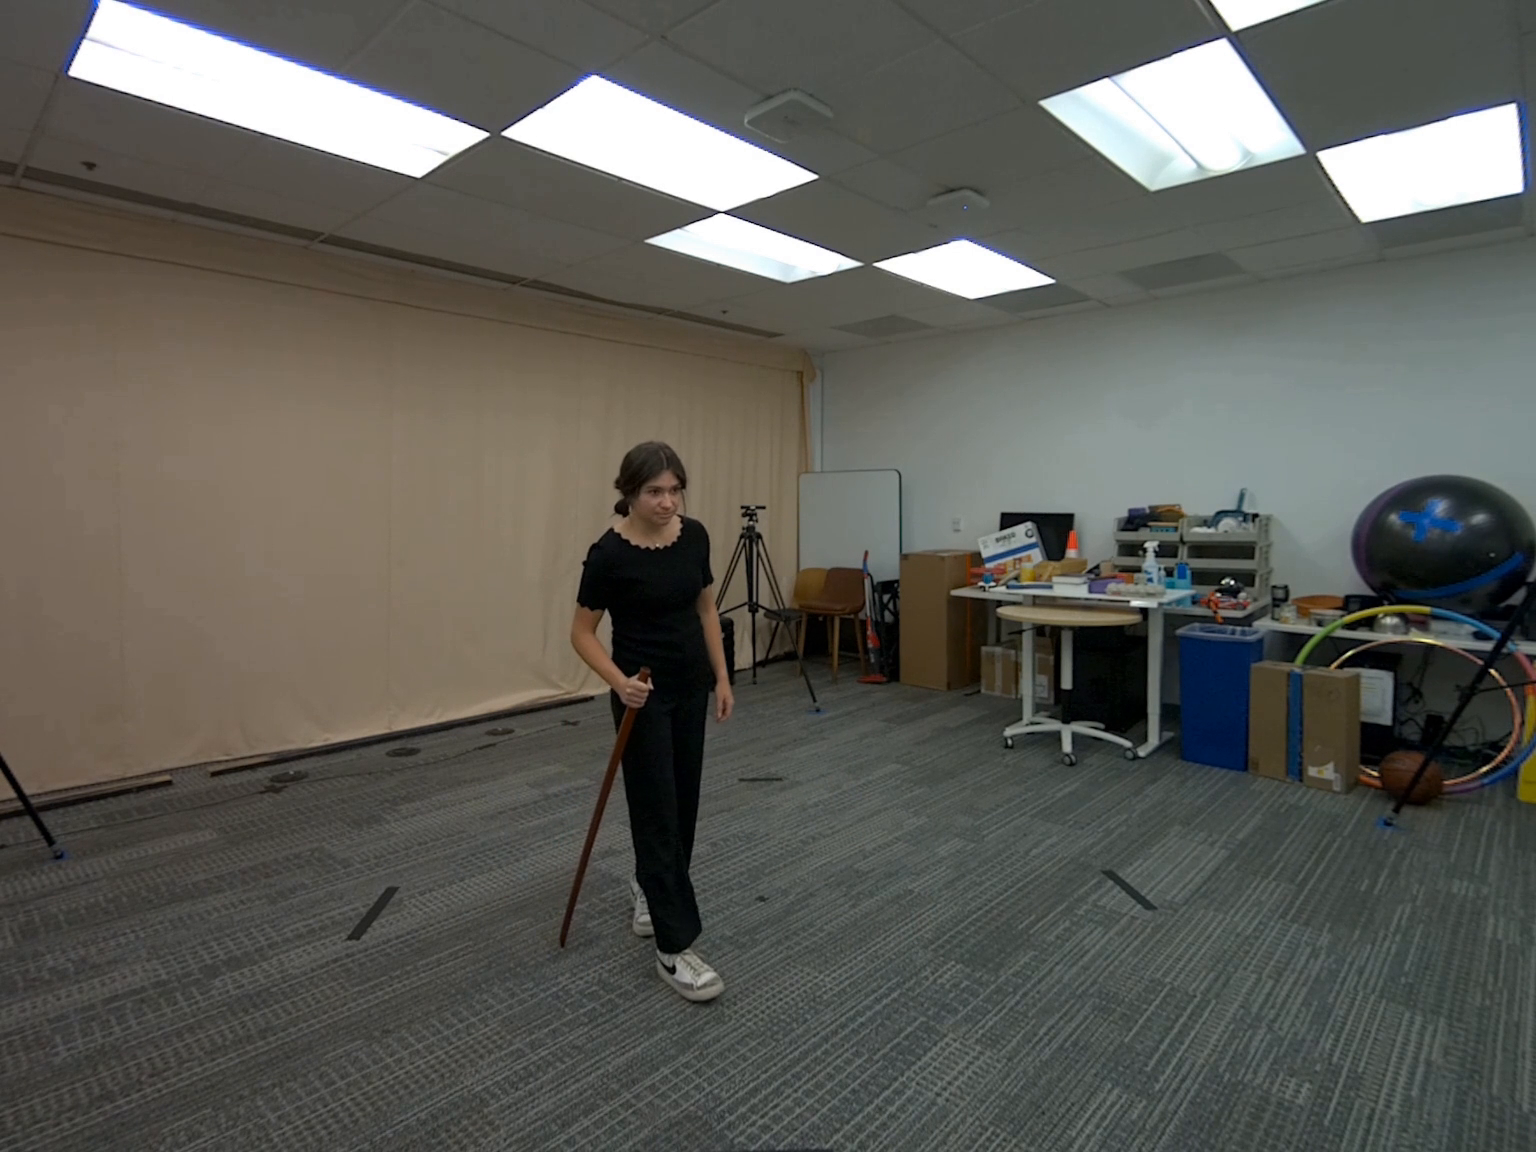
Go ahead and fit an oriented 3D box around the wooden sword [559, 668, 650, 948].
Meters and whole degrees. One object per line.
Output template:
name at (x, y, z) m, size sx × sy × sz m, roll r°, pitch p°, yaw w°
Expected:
wooden sword at (-0.516, 0.726, 2.518) m, size 0.025 × 1.020 × 0.050 m, roll 26°, pitch 20°, yaw 20°
